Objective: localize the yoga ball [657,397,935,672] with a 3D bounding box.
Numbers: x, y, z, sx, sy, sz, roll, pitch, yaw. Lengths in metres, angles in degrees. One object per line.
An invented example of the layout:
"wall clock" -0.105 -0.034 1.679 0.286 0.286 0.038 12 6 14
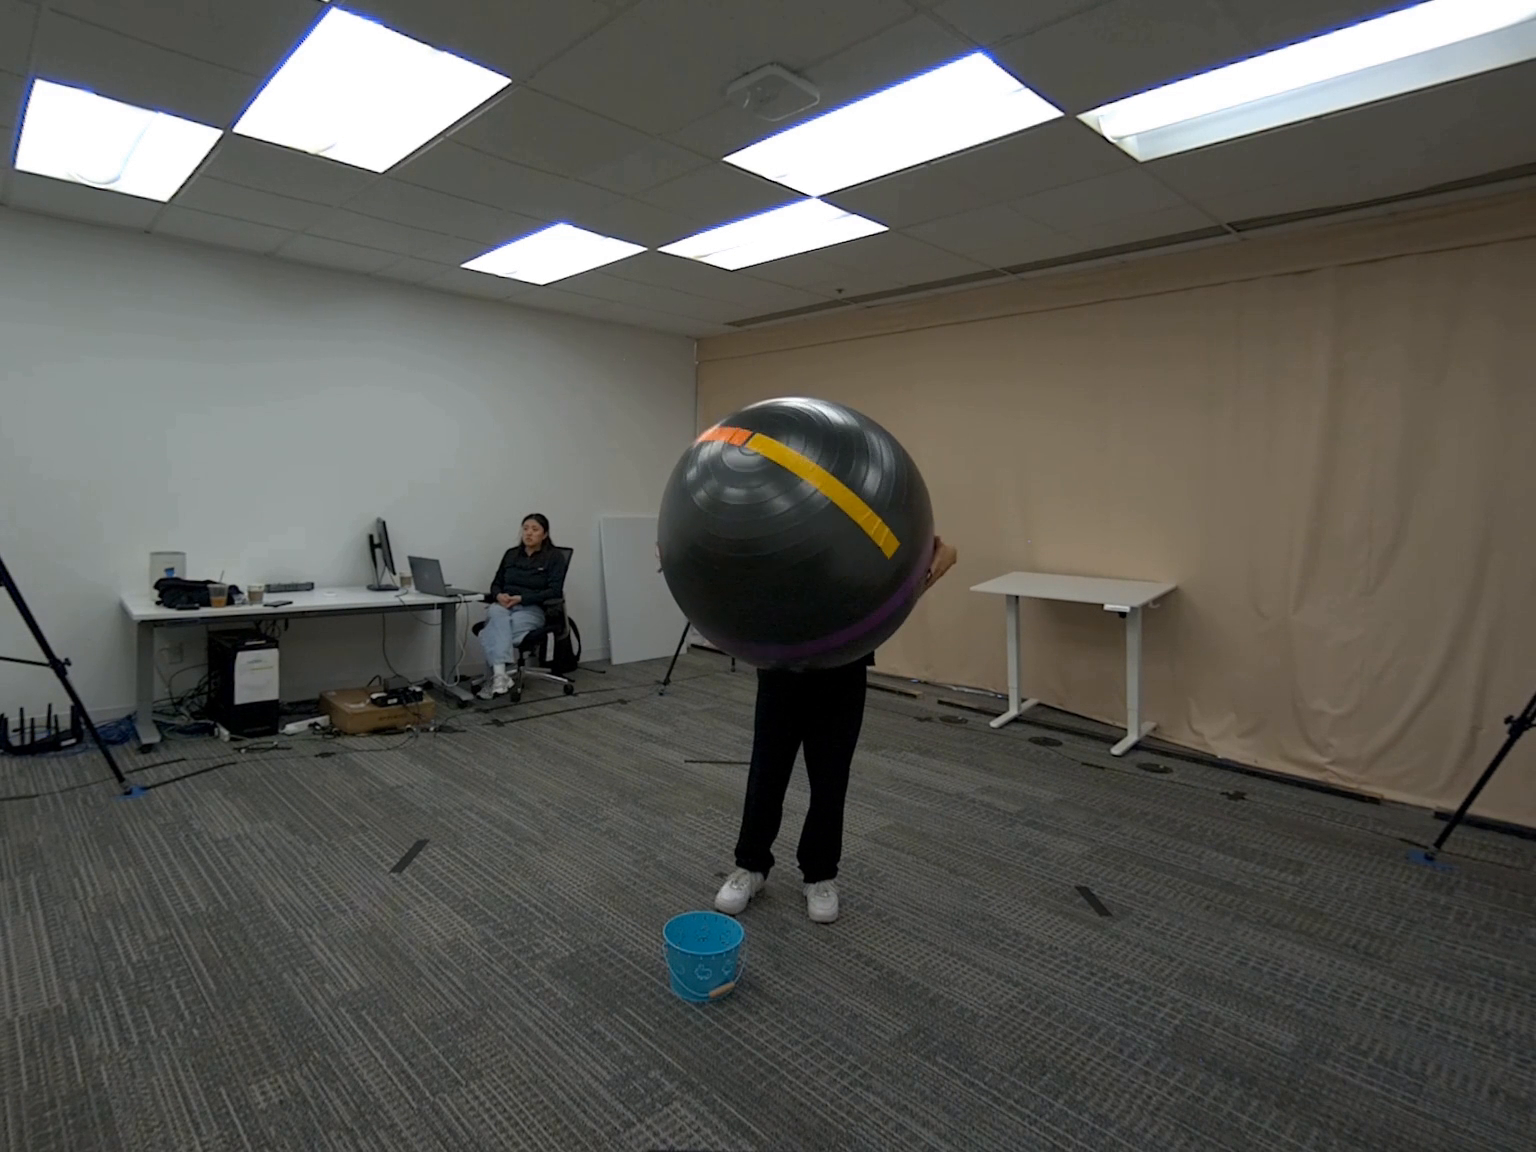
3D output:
"yoga ball" 0.065 -0.107 2.322 0.757 0.756 0.761 1 4 -1
